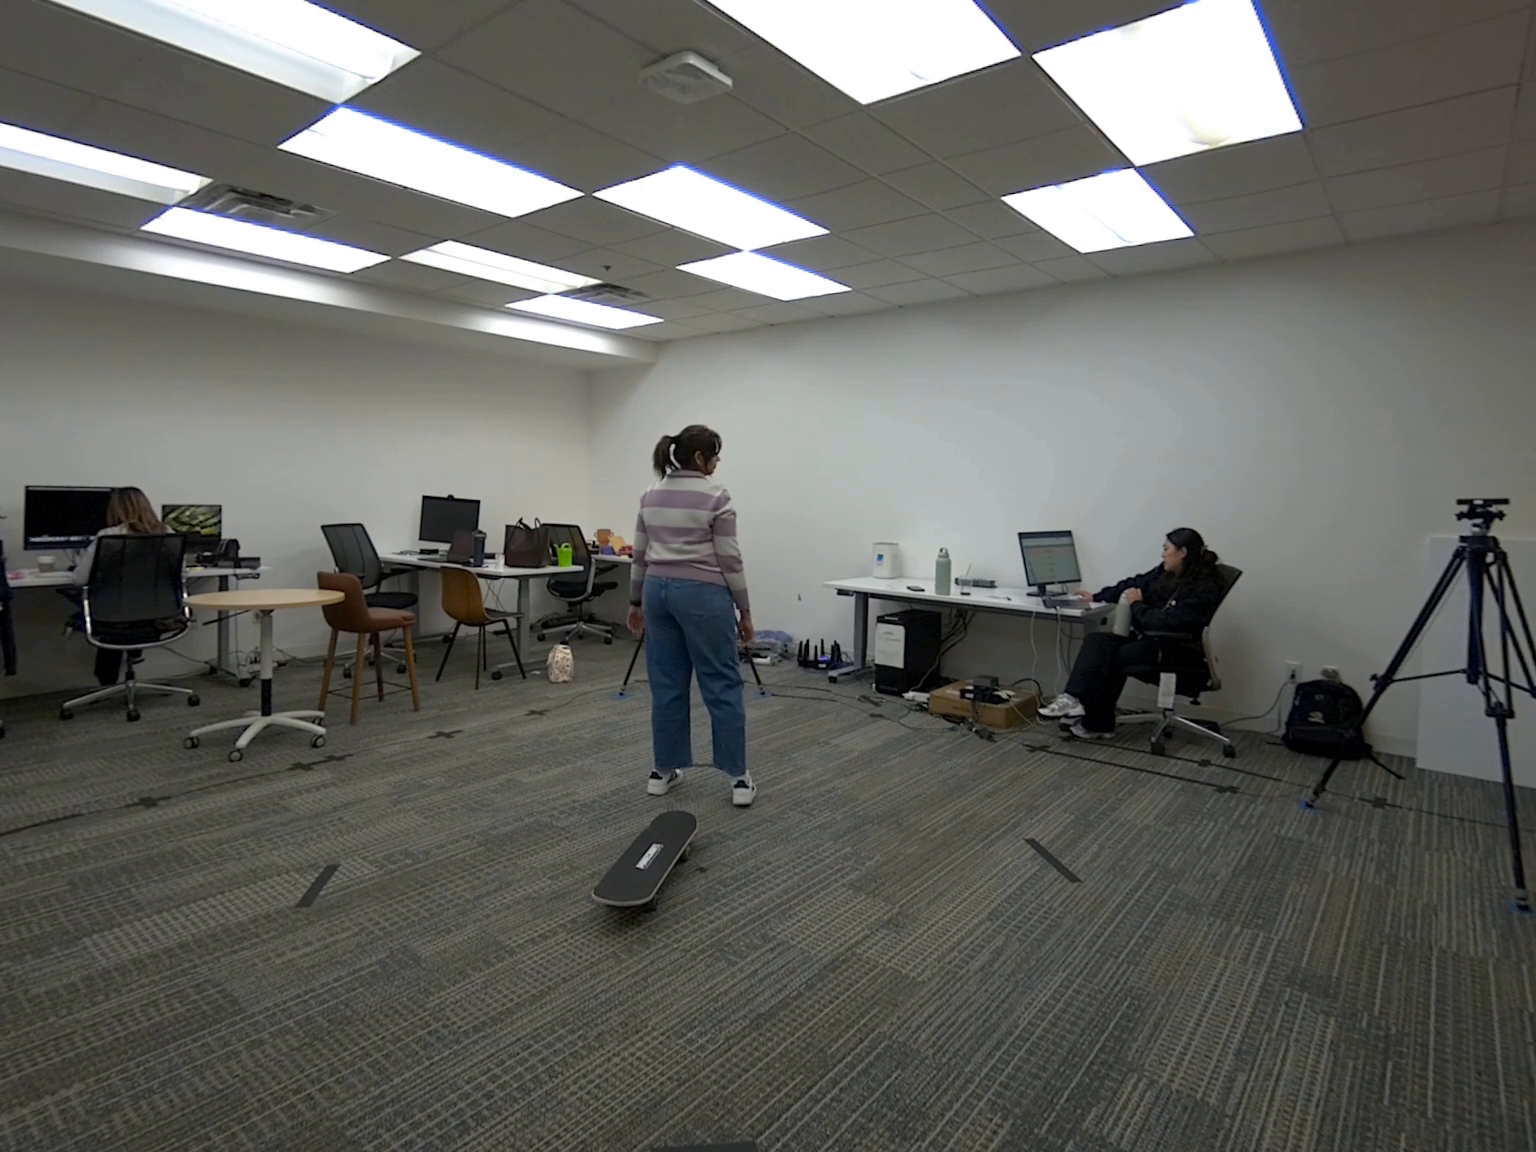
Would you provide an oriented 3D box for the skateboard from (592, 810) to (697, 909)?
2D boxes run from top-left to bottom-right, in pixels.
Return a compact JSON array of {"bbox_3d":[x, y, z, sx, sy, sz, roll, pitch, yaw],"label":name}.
[{"bbox_3d":[-0.431,1.019,3.008,0.196,0.110,0.778,2,5,10],"label":"skateboard"}]
